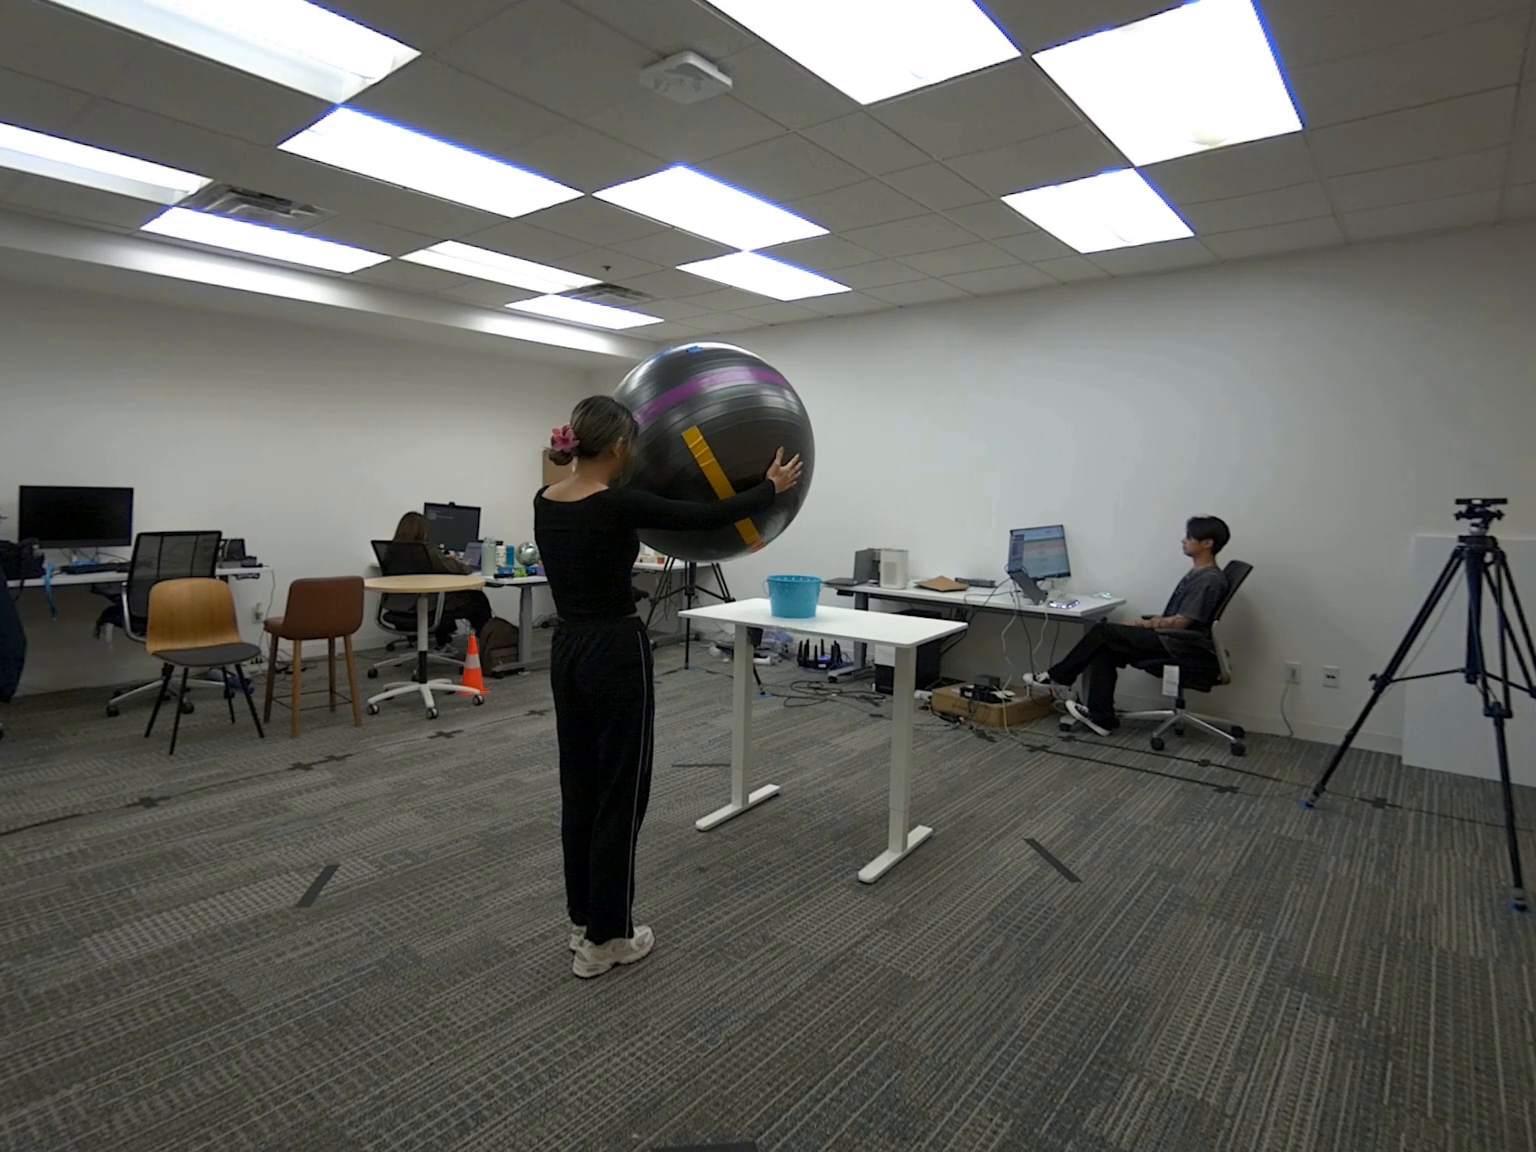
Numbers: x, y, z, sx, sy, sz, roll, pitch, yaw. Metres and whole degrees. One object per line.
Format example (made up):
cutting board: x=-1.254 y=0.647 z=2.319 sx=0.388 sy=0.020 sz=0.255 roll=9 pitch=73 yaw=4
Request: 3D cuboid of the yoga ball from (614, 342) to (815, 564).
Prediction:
yoga ball: x=-0.223 y=-0.419 z=2.951 sx=0.757 sy=0.756 sz=0.761 roll=1 pitch=4 yaw=-2
